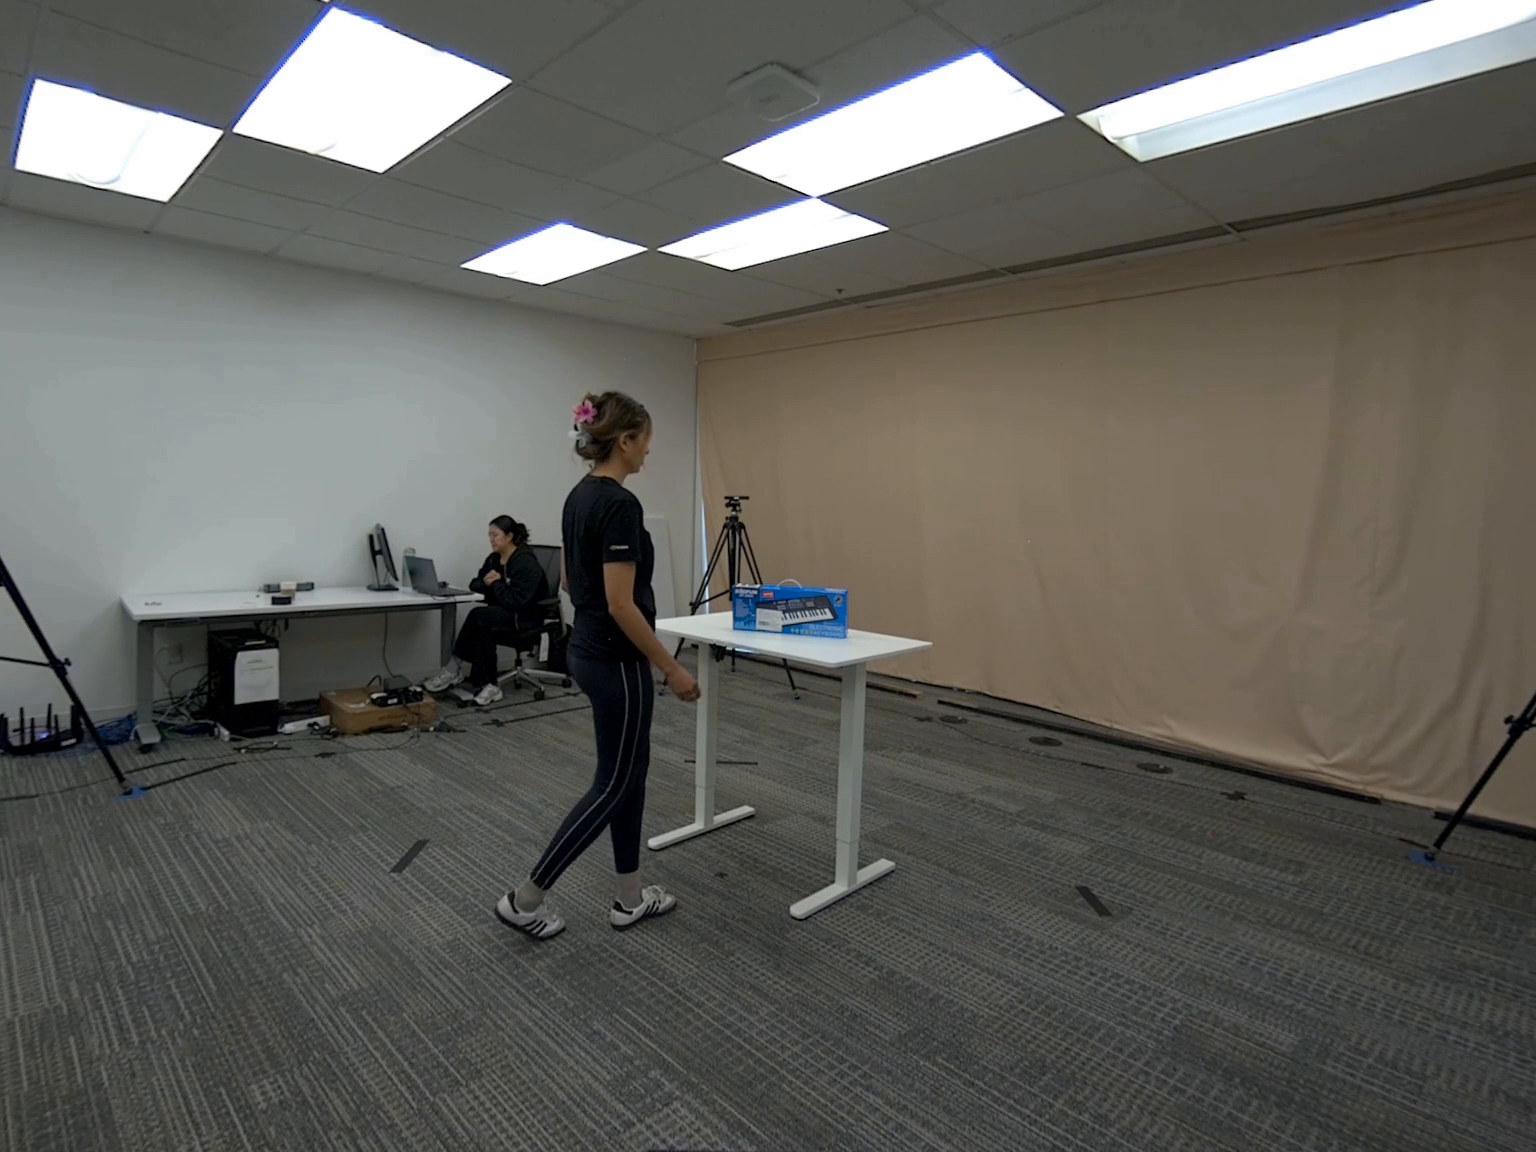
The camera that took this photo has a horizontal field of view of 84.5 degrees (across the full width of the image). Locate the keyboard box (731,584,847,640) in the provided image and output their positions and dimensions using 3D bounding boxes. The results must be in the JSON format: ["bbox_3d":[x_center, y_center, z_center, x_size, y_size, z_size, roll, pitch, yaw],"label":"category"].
[{"bbox_3d":[0.077,0.132,3.183,0.443,0.174,0.059,4,11,18],"label":"keyboard box"}]
